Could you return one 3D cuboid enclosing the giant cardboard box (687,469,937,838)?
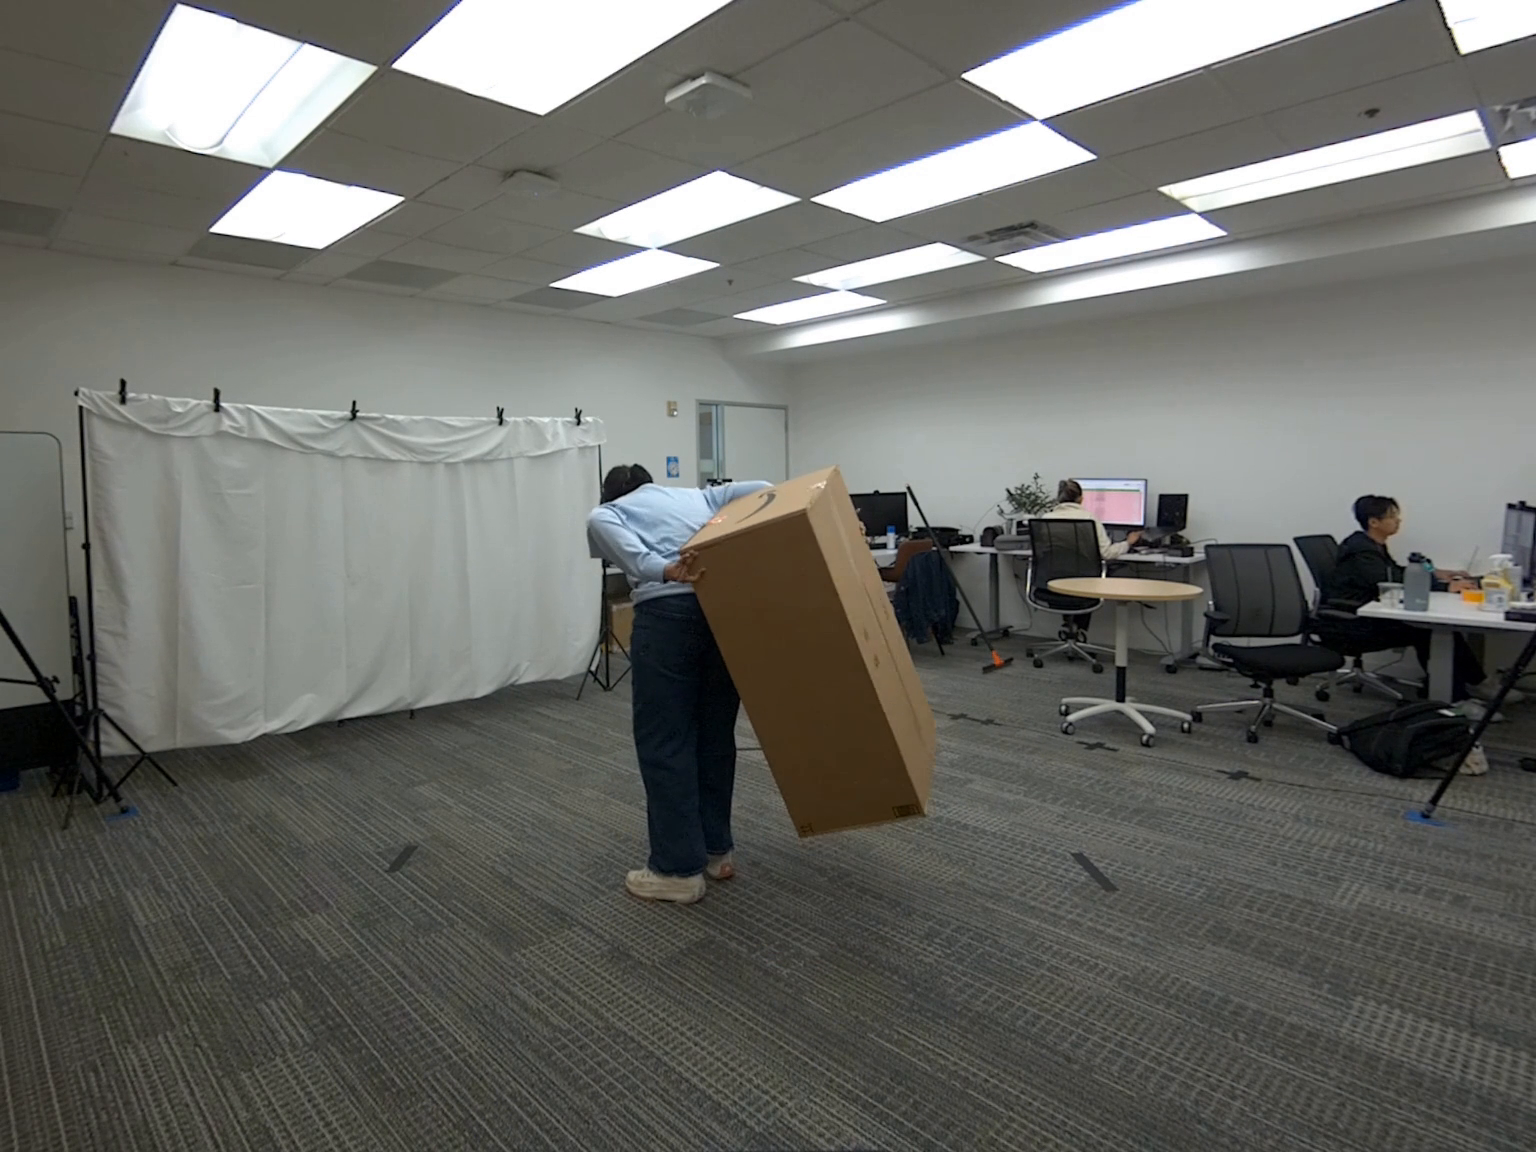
[{"bbox_3d":[0.169,0.240,2.821,0.432,1.012,0.577,-18,12,21],"label":"giant cardboard box"}]
